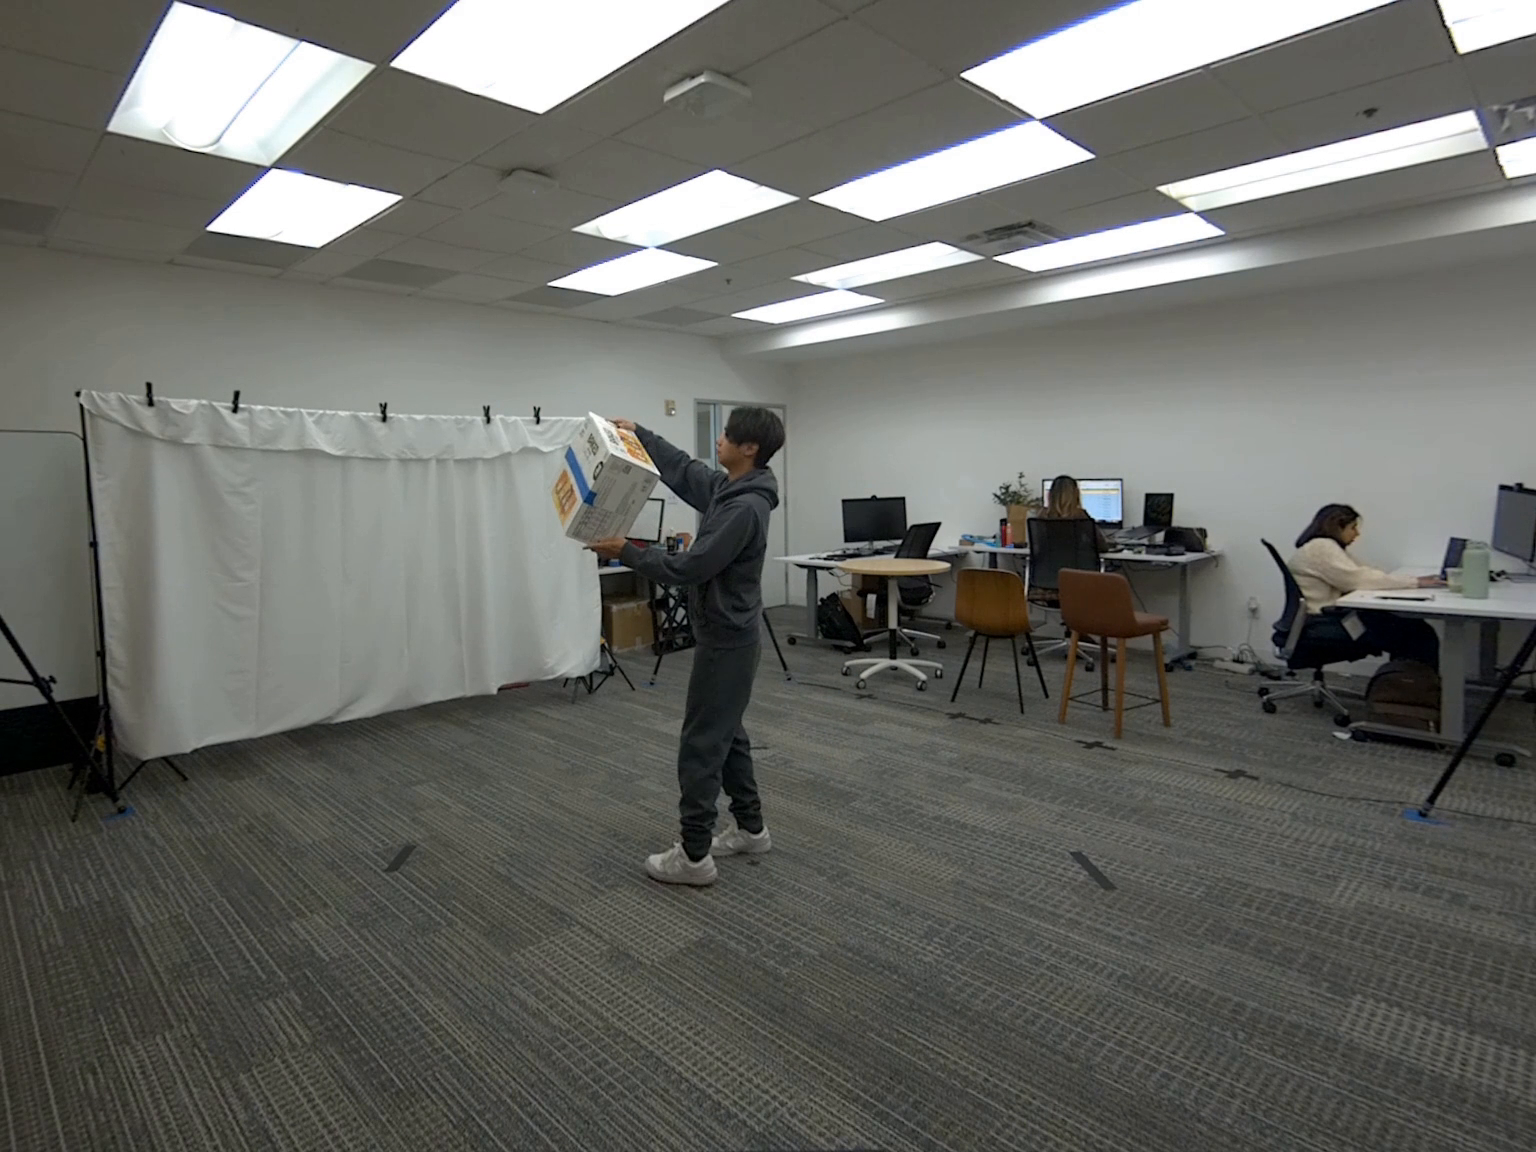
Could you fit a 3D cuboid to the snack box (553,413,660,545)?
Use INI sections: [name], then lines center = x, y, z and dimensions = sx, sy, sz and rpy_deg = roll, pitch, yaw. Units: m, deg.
[snack box]
center = -0.600, -0.345, 3.107
dimensions = 0.199, 0.339, 0.420
rpy_deg = 21, 20, -32
